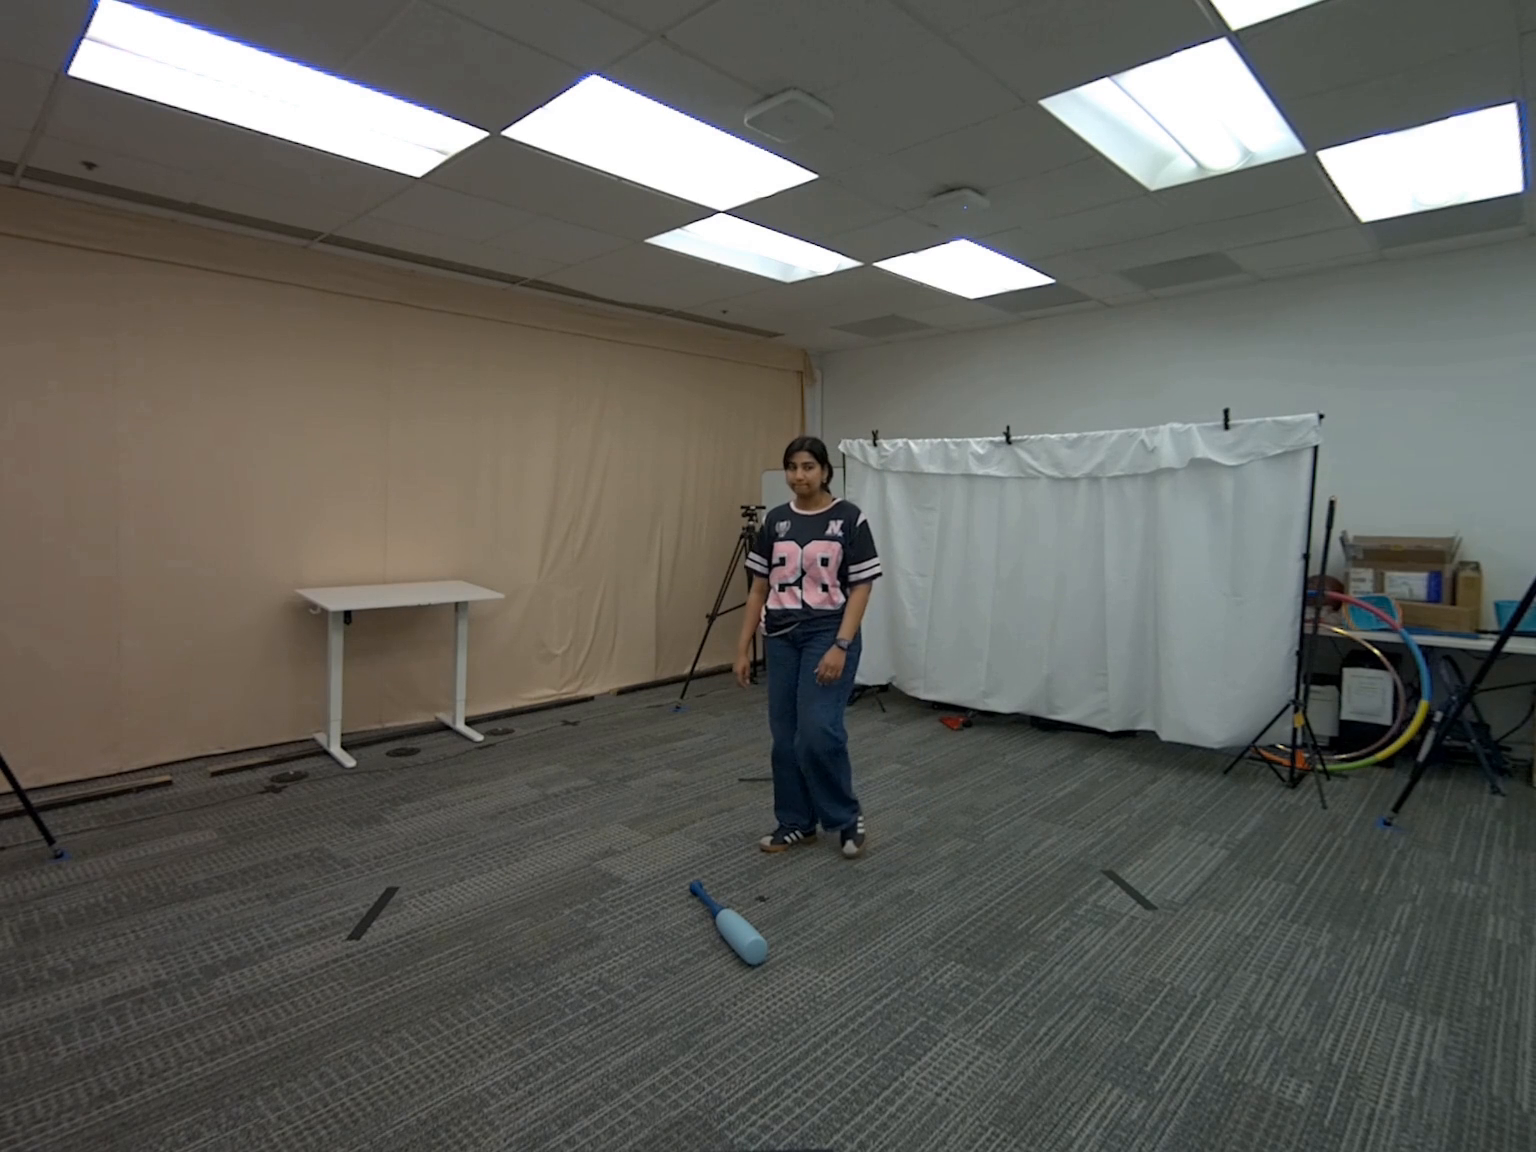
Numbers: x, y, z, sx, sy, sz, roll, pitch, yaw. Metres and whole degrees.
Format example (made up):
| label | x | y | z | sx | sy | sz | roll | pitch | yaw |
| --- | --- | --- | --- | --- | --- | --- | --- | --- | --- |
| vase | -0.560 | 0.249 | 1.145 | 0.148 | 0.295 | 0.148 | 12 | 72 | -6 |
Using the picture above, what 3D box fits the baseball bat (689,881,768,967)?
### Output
| label | x | y | z | sx | sy | sz | roll | pitch | yaw |
| --- | --- | --- | --- | --- | --- | --- | --- | --- | --- |
| baseball bat | -0.132 | 1.130 | 2.767 | 0.087 | 0.089 | 0.555 | -1 | 1 | -24 |
